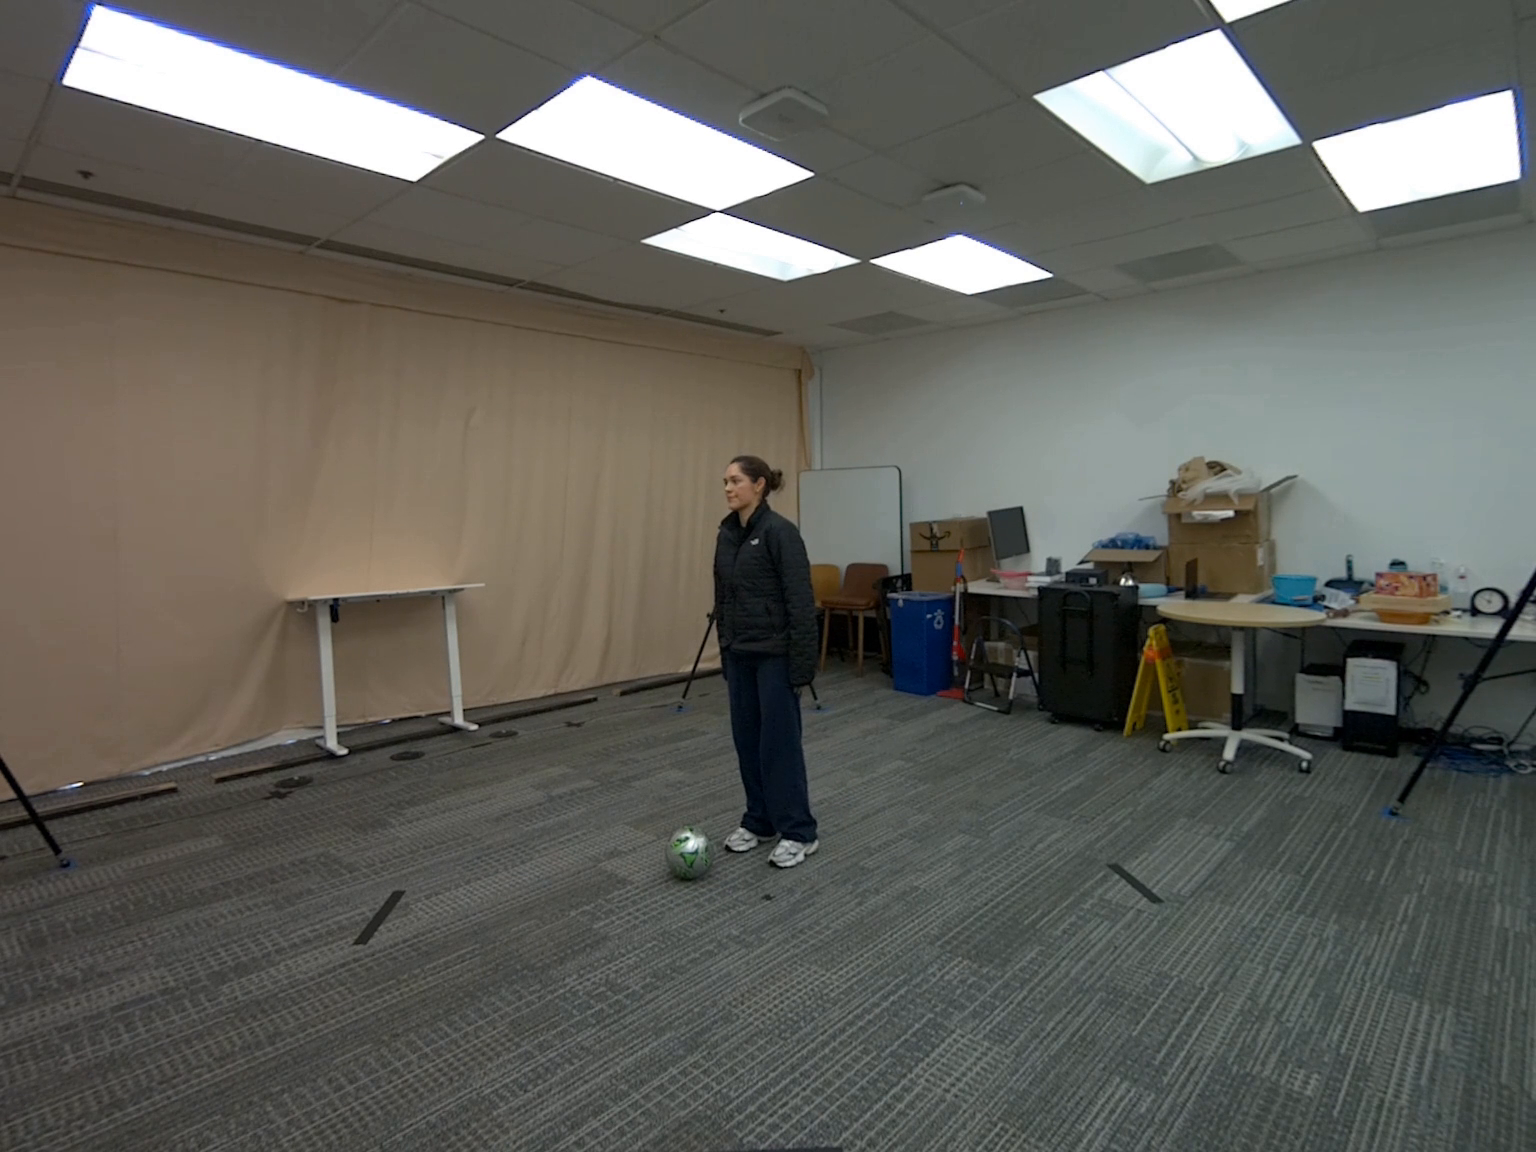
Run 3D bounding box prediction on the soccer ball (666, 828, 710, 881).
[{"bbox_3d":[-0.294,1.033,3.161,0.187,0.187,0.188,-1,4,-2],"label":"soccer ball"}]
